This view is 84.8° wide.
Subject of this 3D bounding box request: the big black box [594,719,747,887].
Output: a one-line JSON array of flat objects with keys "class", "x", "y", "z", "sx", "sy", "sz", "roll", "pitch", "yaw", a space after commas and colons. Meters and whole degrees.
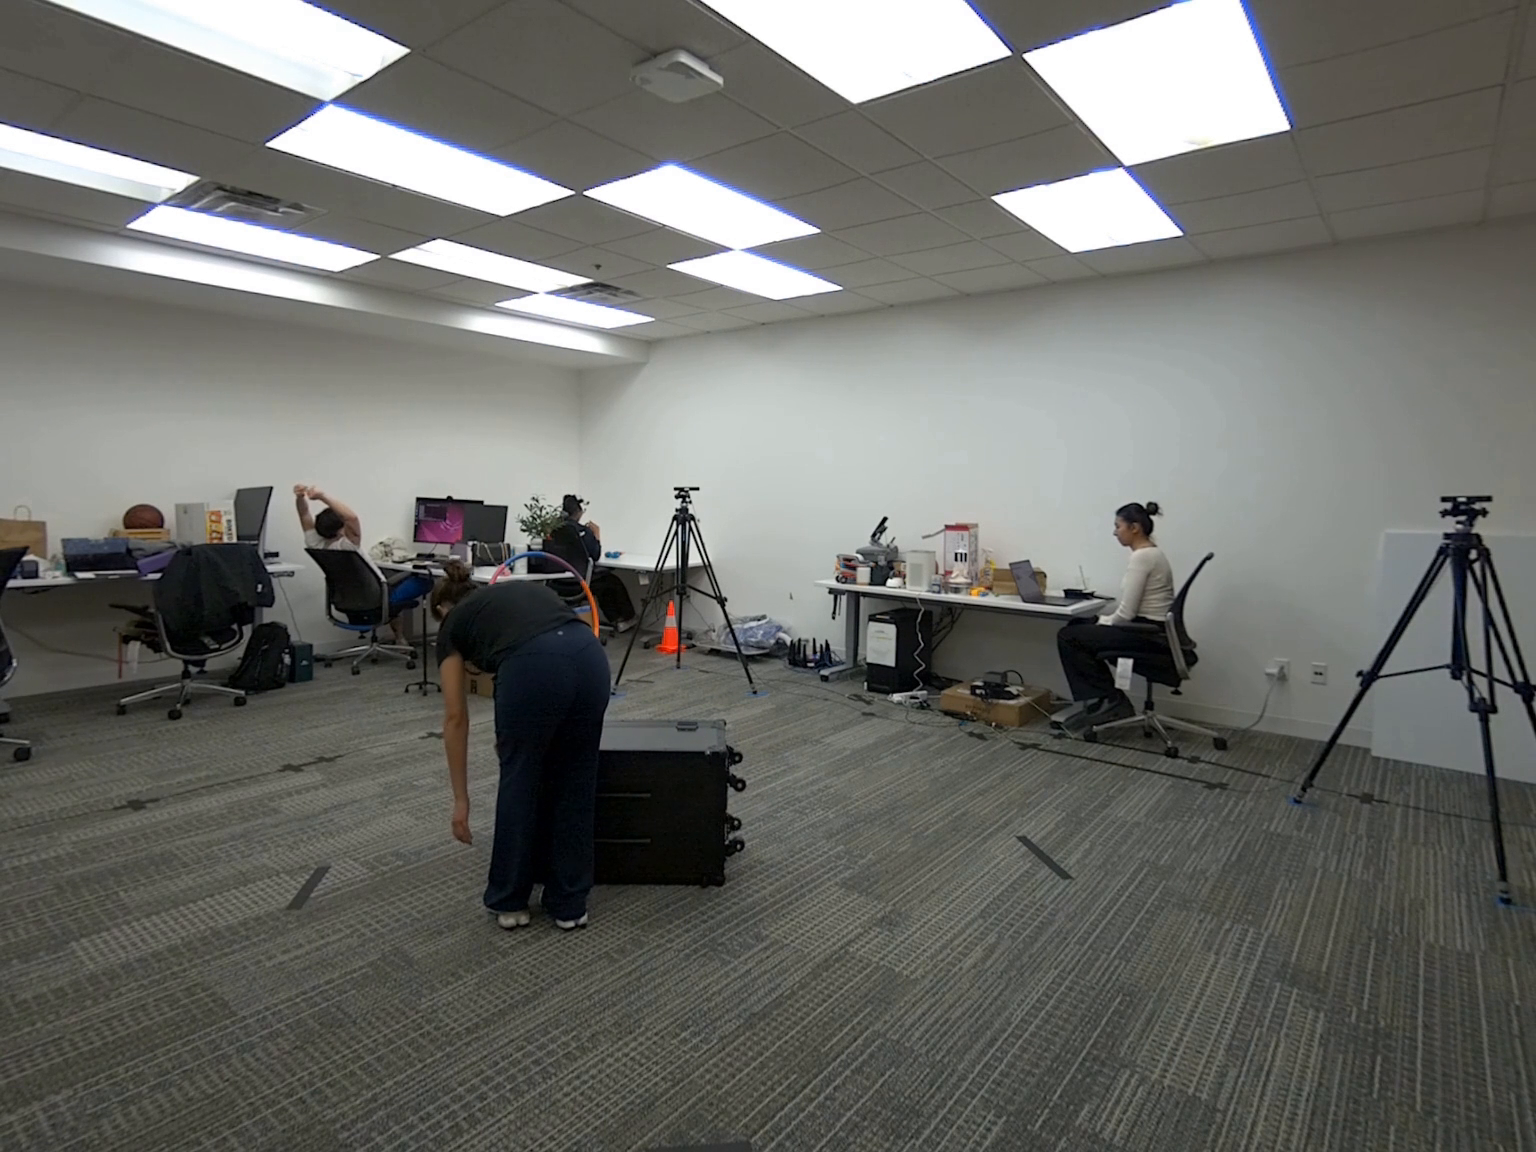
[{"class": "big black box", "x": -0.498, "y": 0.803, "z": 3.125, "sx": 0.862, "sy": 0.519, "sz": 0.398, "roll": 1, "pitch": 6, "yaw": 0}]
